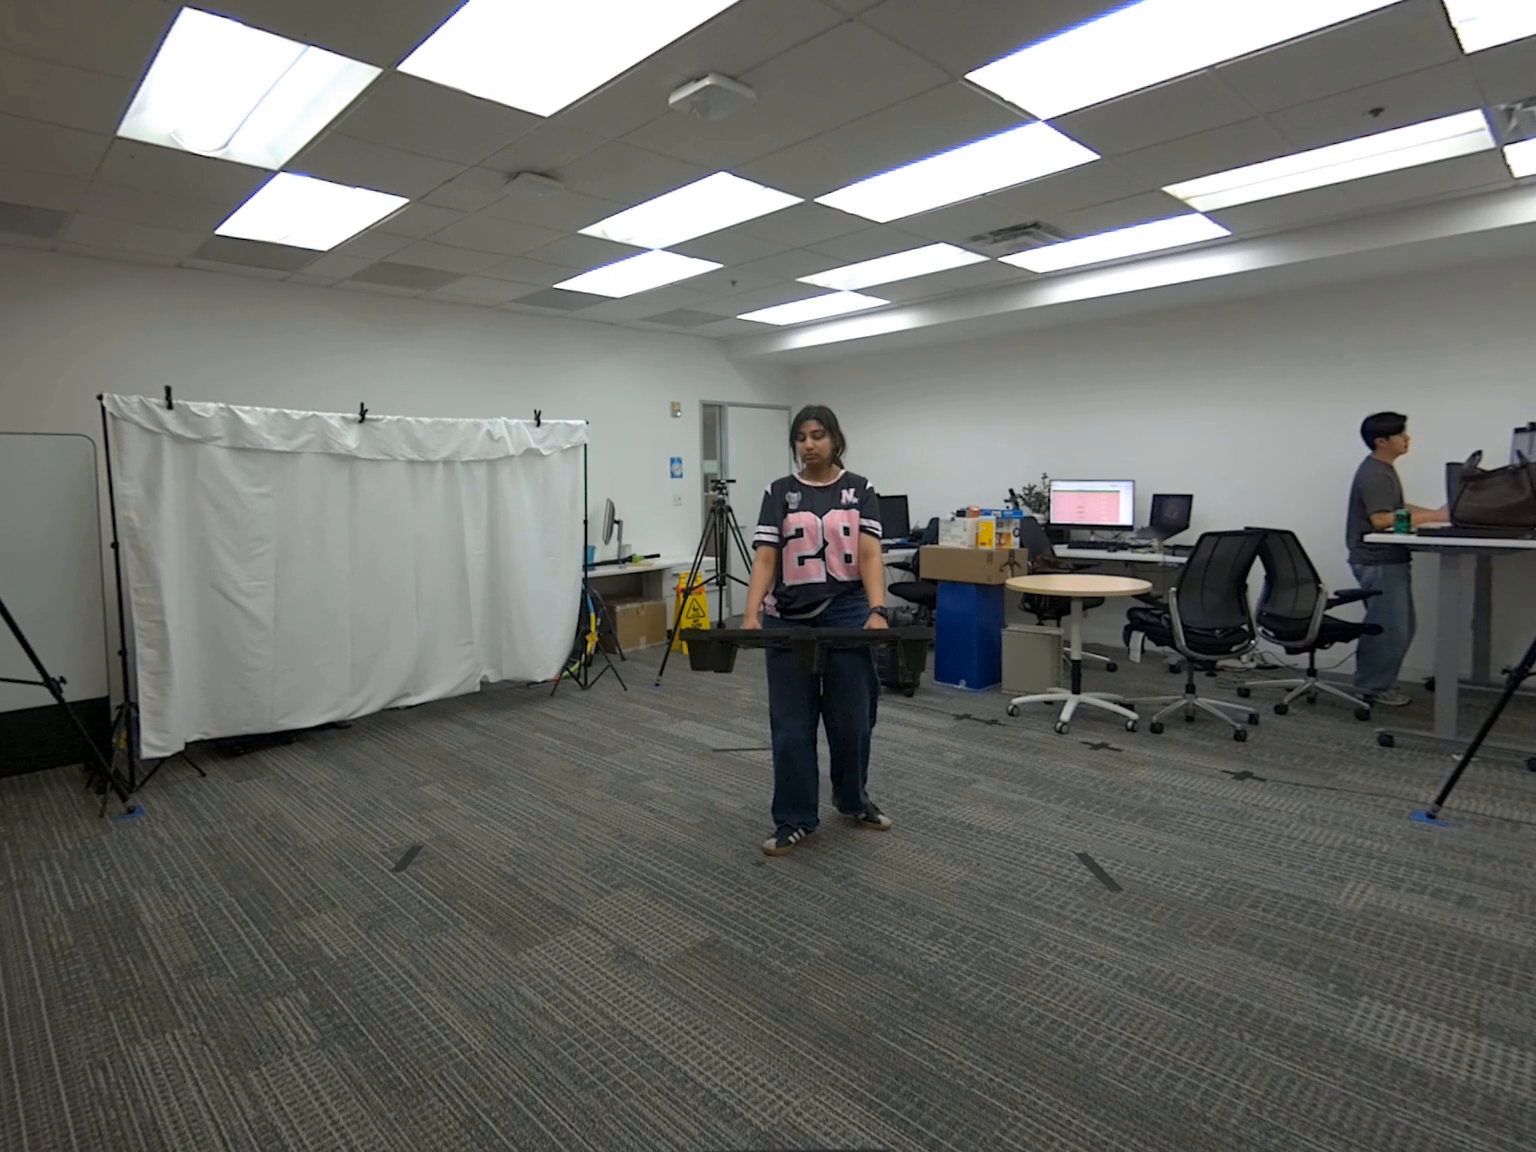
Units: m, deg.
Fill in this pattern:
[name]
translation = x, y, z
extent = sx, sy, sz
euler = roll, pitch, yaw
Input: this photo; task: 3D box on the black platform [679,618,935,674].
[black platform]
translation = 0.151, 0.265, 2.916
extent = 0.814, 0.144, 0.594
euler = -1, -7, 10
